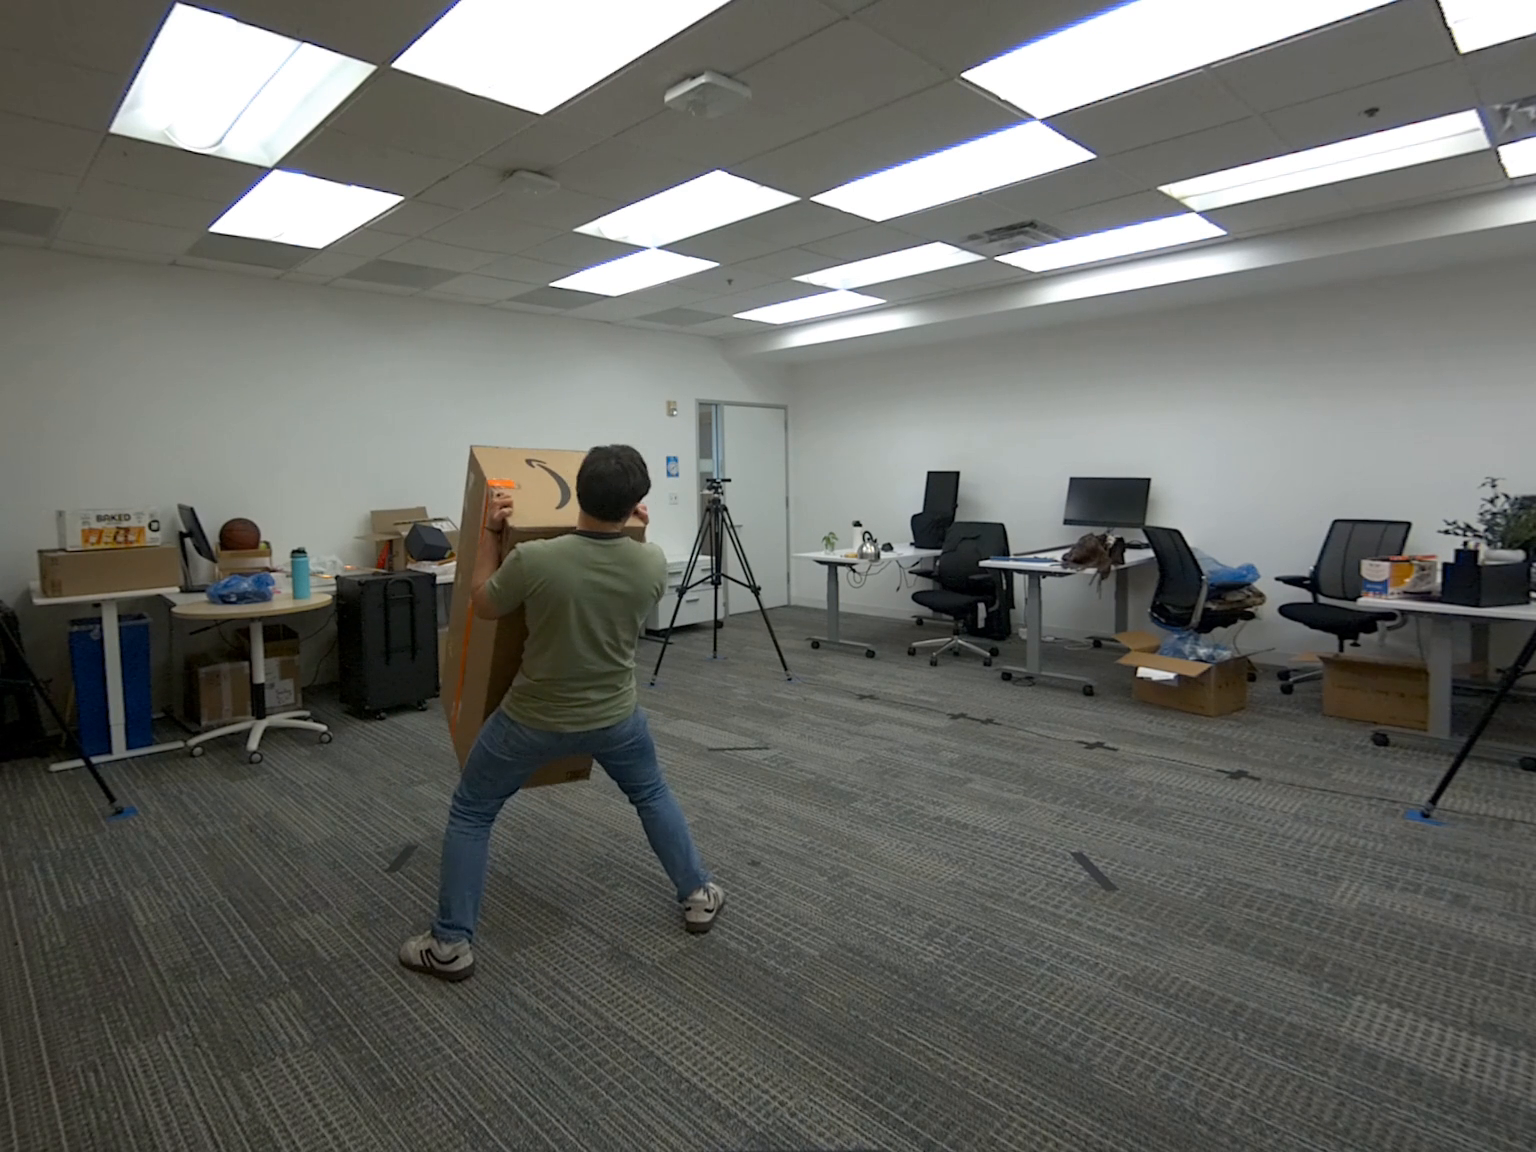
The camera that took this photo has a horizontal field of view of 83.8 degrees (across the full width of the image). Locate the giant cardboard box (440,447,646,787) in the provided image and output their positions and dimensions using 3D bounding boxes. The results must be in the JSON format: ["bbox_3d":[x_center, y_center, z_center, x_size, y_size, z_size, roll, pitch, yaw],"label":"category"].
[{"bbox_3d":[-0.812,0.138,2.931,0.415,1.011,0.600,0,30,-31],"label":"giant cardboard box"}]
